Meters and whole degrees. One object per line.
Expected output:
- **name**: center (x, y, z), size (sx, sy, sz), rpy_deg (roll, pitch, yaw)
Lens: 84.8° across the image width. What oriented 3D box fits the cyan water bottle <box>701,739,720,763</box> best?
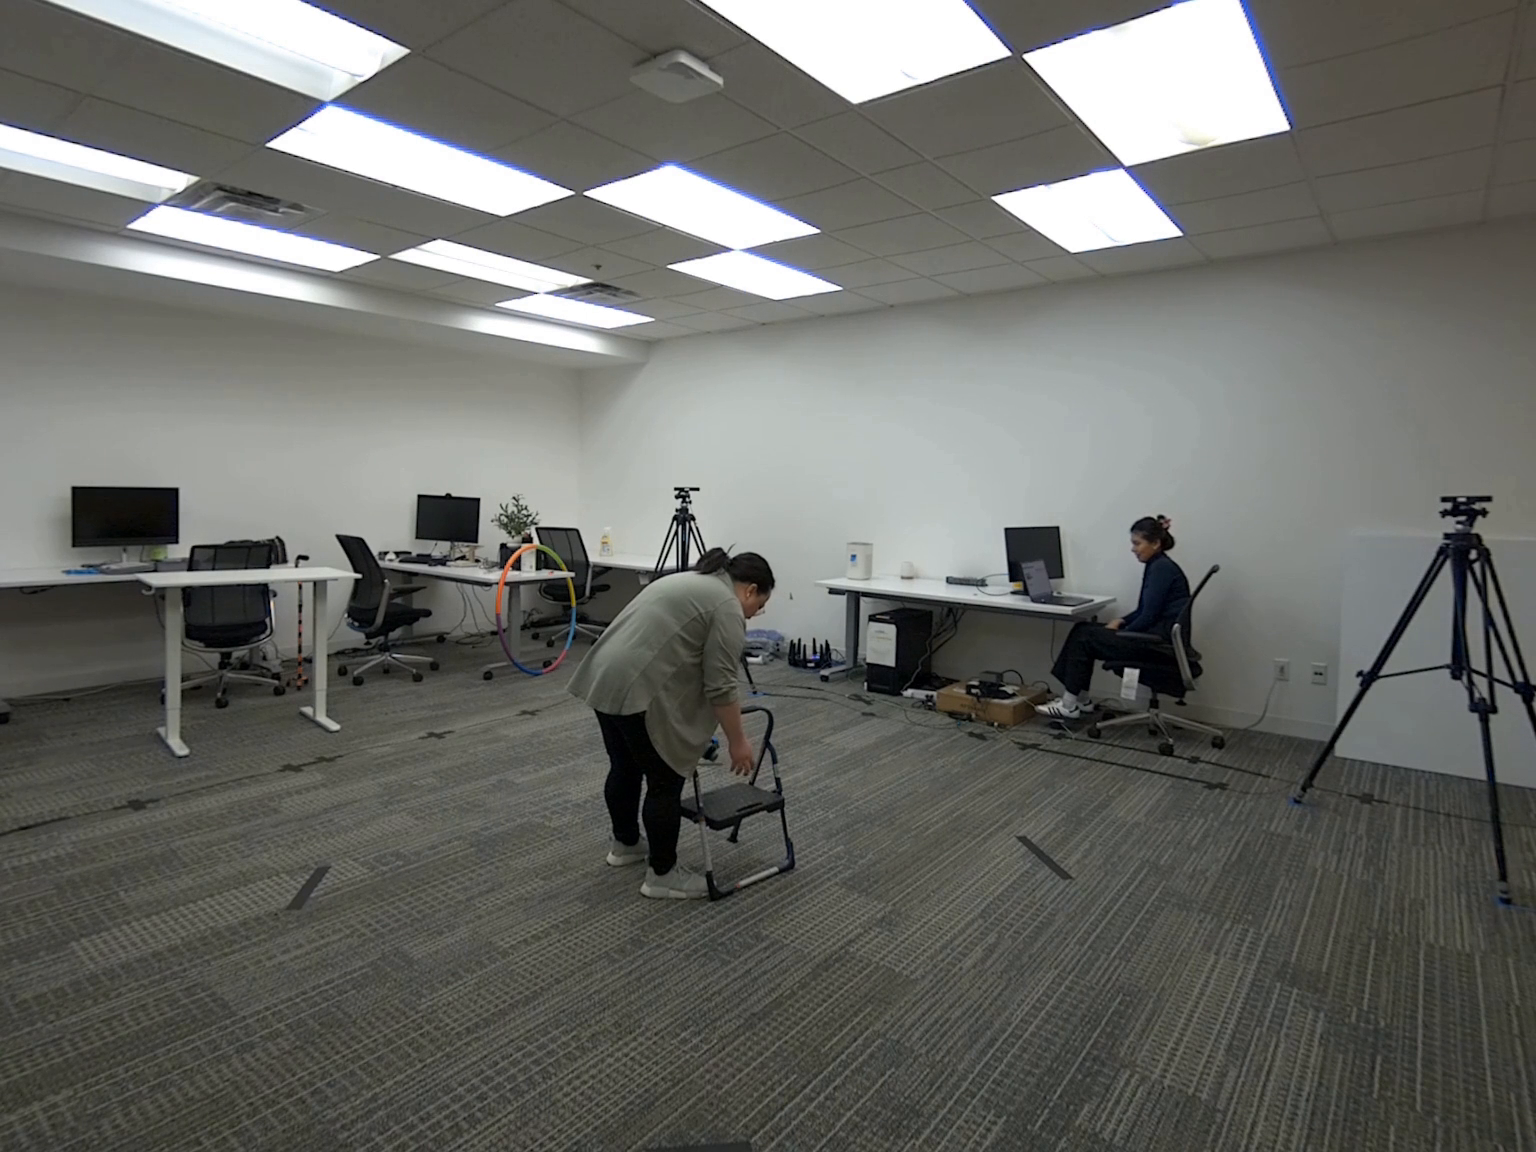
- **cyan water bottle**: center (-0.308, 0.602, 3.238), size (0.292, 0.092, 0.090), rpy_deg (23, 12, 22)
